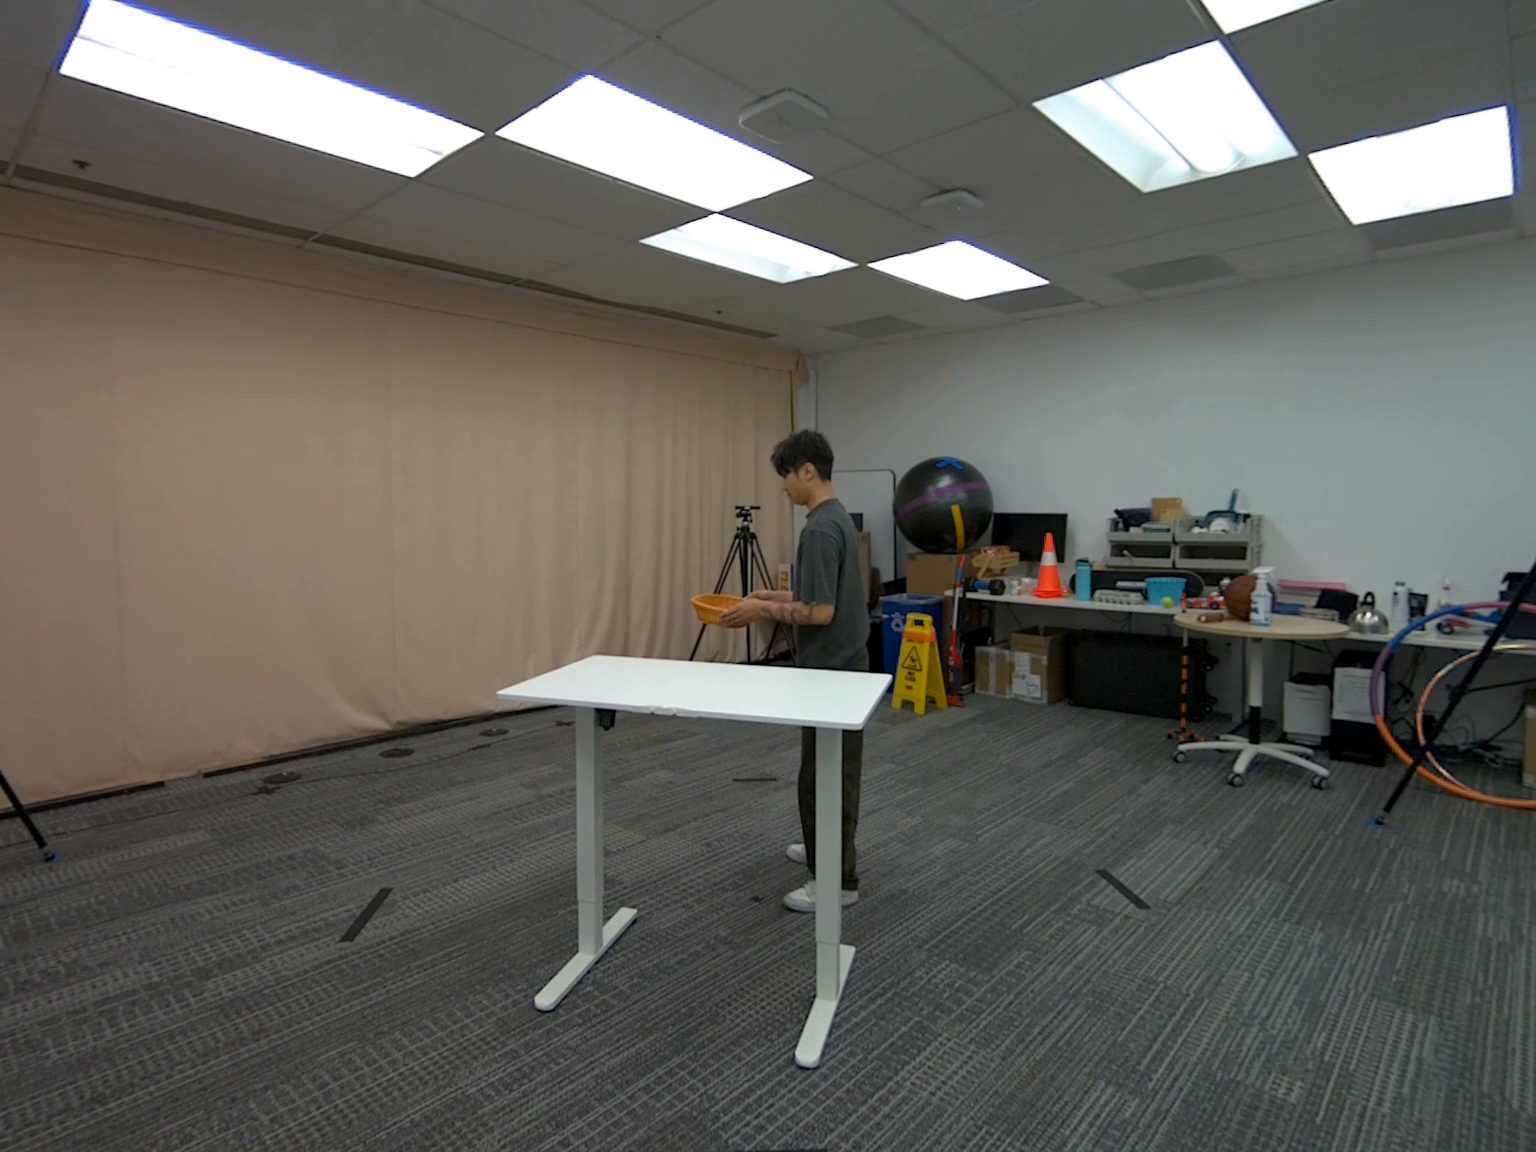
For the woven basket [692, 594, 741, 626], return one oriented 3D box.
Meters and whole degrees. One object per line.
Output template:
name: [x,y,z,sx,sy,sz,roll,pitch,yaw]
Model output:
woven basket: [-0.127,0.138,3.150,0.261,0.073,0.340,10,9,36]
